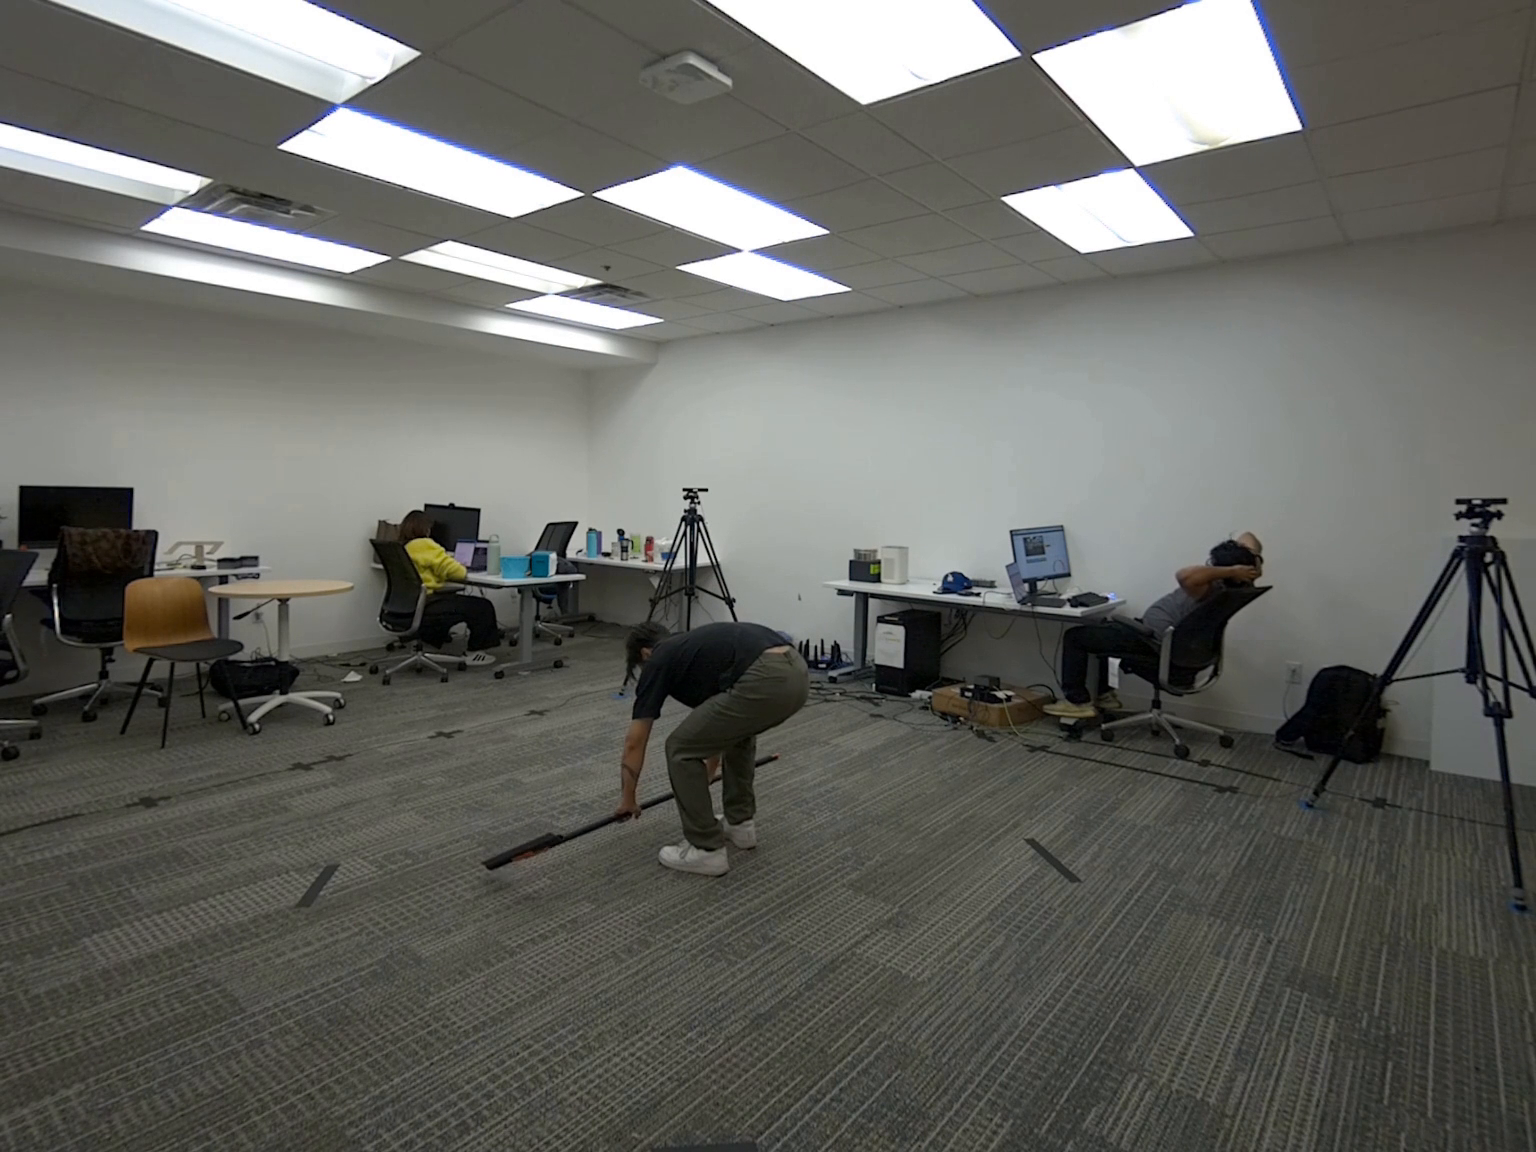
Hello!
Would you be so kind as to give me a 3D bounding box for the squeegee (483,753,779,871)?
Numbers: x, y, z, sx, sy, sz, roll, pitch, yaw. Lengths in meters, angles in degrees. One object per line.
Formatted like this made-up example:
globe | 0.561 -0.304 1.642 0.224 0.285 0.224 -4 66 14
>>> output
squeegee | -0.412 0.895 3.458 0.442 0.054 1.492 -32 -16 34
